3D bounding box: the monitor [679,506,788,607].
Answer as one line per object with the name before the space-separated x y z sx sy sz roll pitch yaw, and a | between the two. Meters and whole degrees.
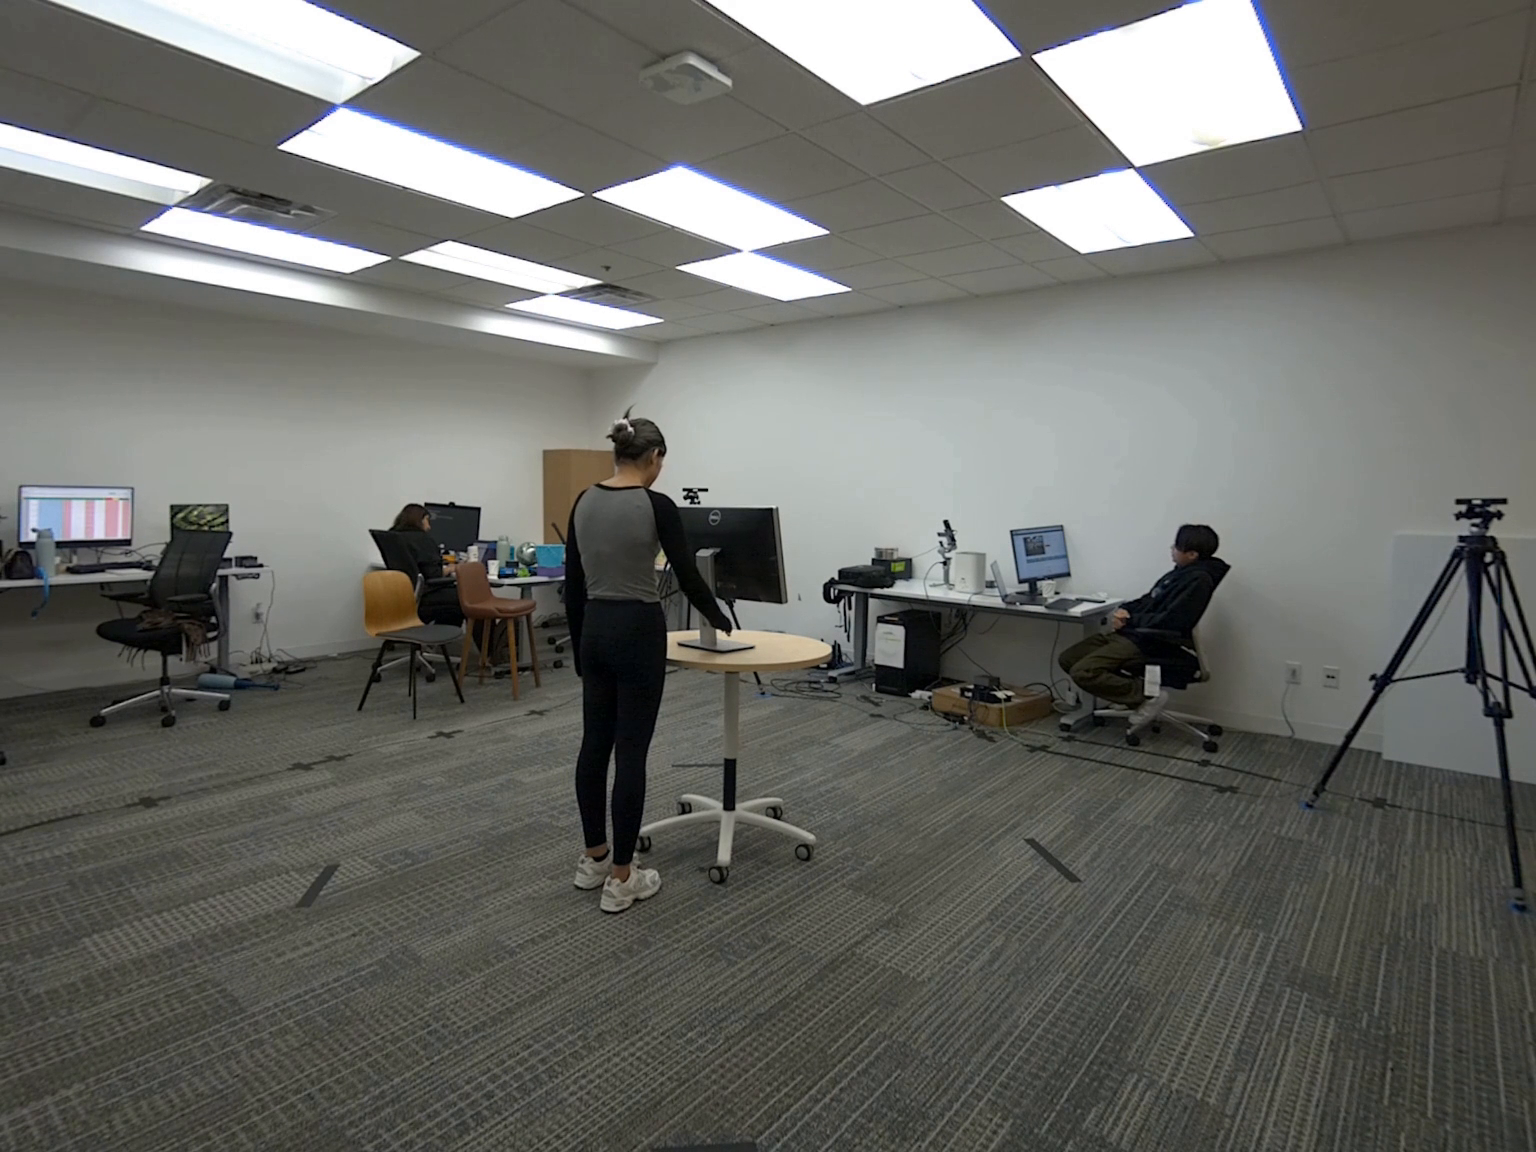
monitor | -0.203 0.003 3.248 0.557 0.522 0.181 4 2 39
